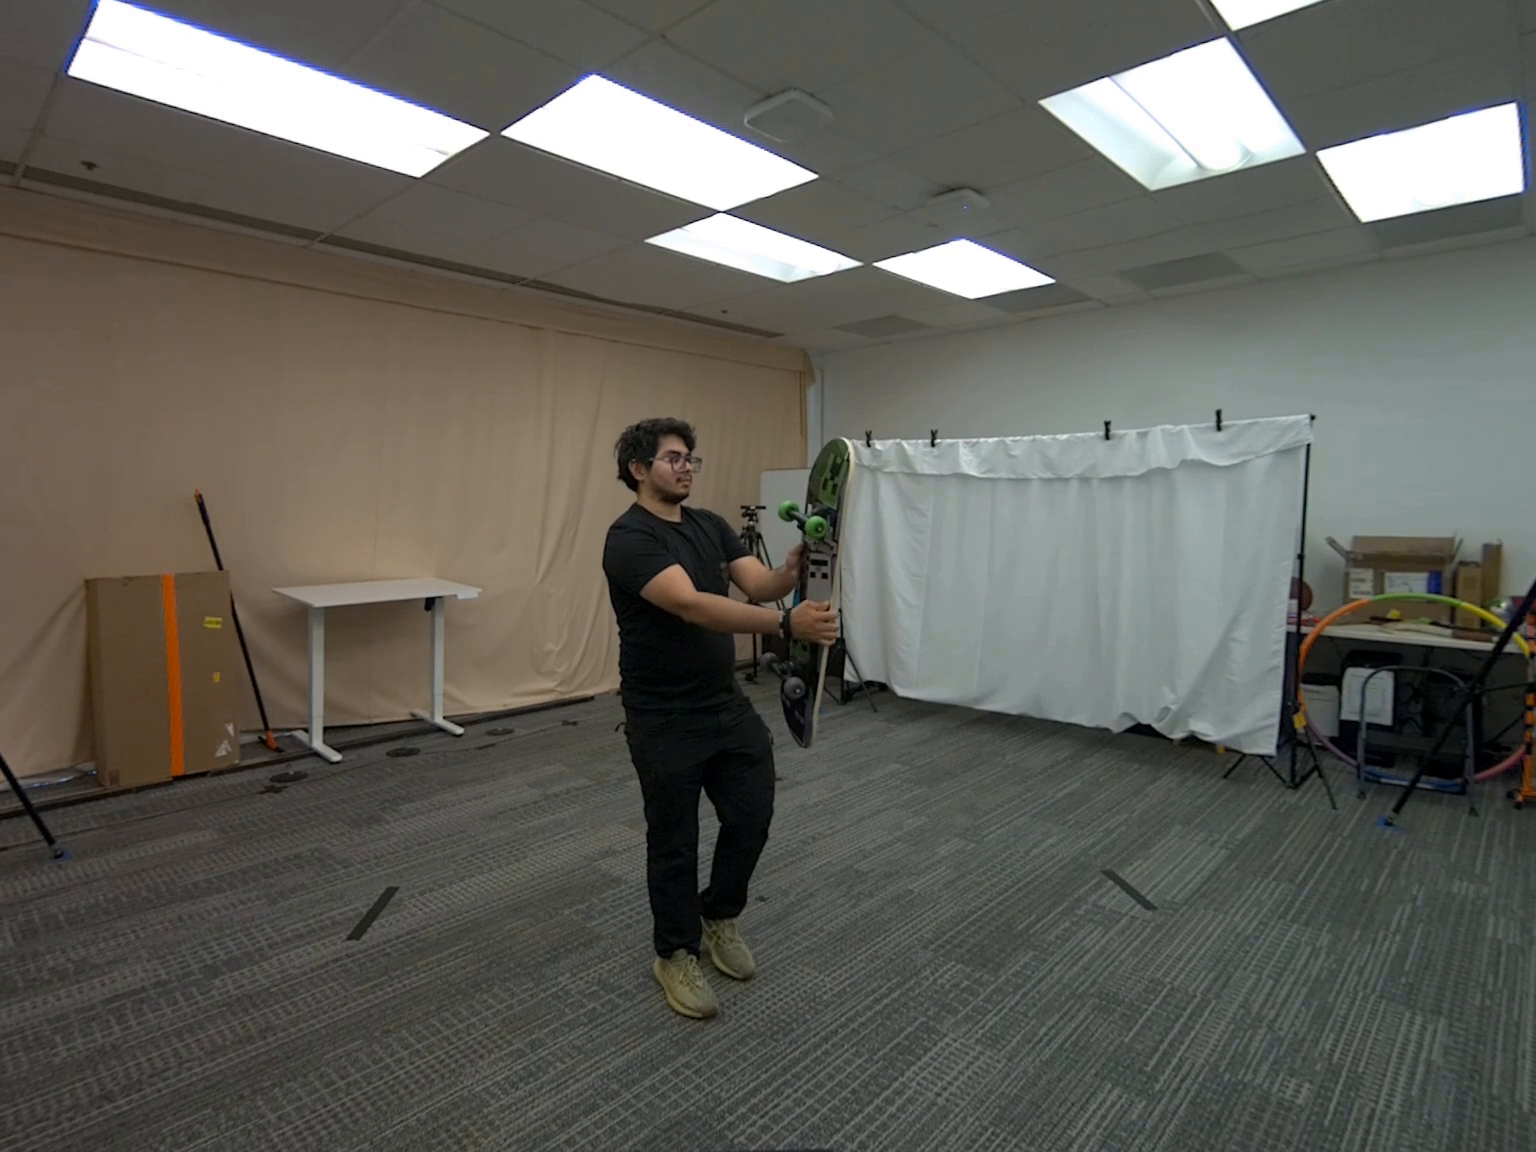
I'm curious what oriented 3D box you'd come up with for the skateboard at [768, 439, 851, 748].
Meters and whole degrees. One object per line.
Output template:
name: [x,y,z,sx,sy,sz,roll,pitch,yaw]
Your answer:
skateboard: [0.088,0.059,2.045,0.108,0.780,0.199,3,14,-21]
